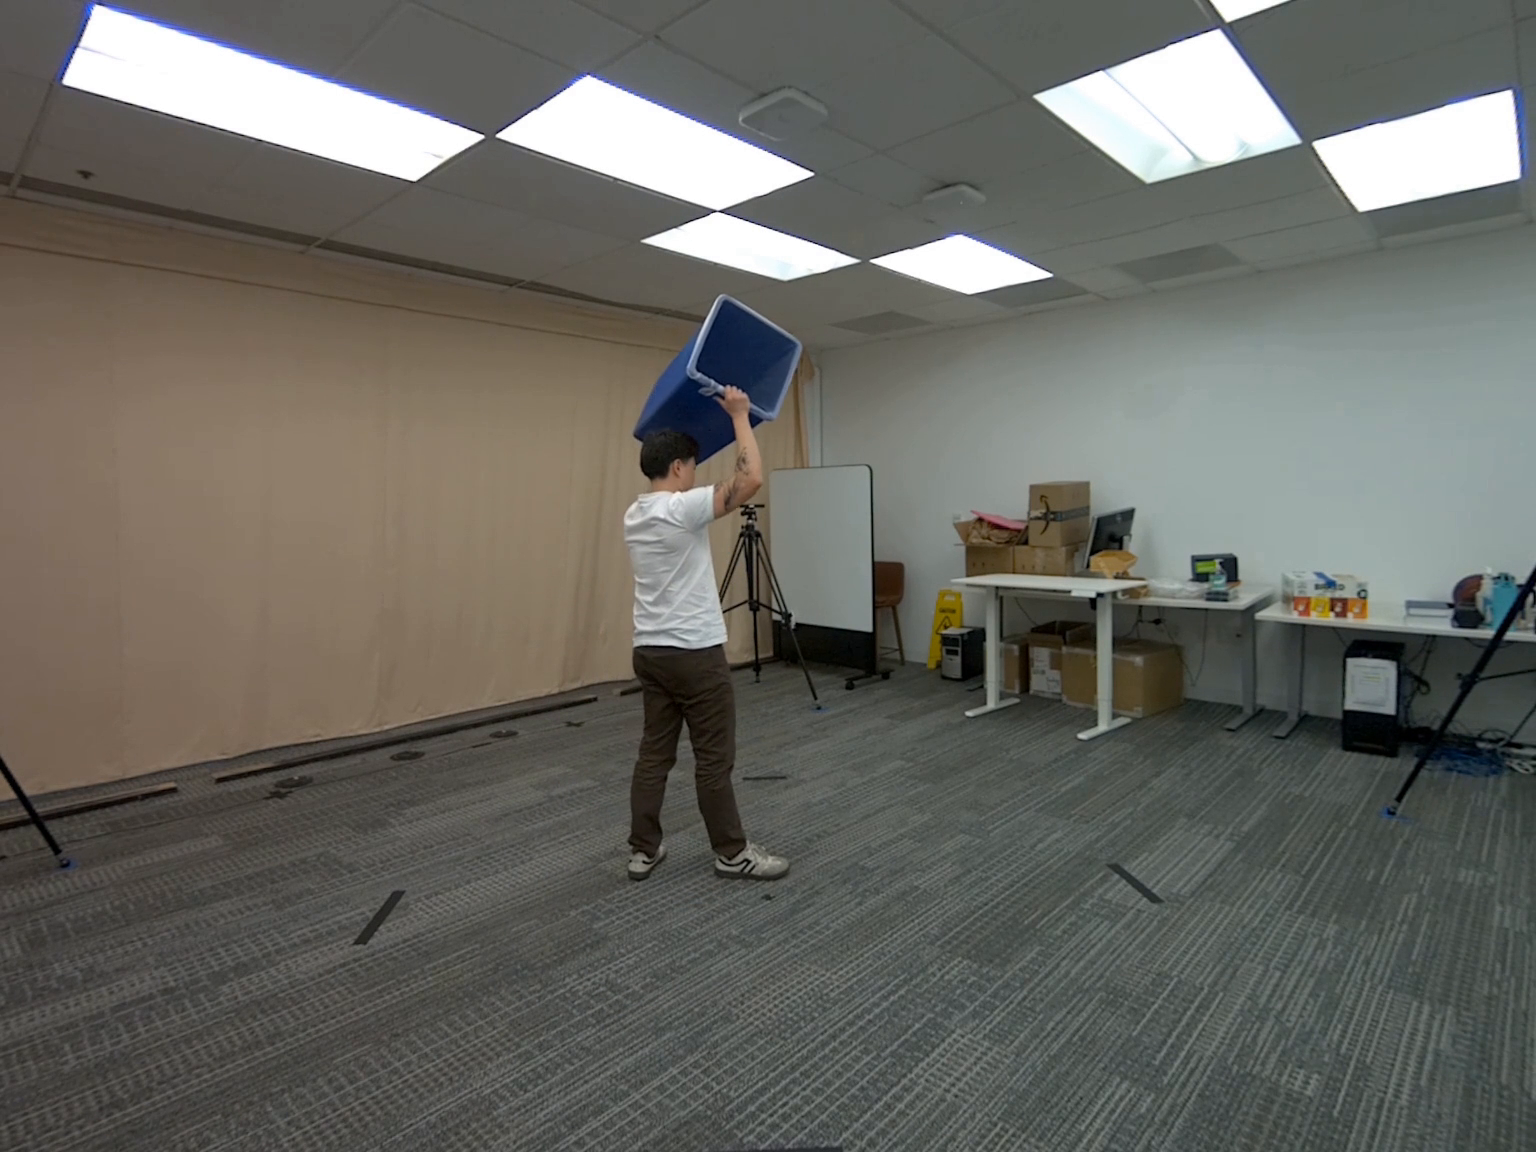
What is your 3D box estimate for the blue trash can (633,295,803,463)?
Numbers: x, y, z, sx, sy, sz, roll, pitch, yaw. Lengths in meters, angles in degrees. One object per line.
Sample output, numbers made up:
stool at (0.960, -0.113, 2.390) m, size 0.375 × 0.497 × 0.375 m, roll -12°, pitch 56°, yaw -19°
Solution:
blue trash can at (-0.222, -0.720, 3.350) m, size 0.366 × 0.379 × 0.726 m, roll 28°, pitch -22°, yaw -19°
